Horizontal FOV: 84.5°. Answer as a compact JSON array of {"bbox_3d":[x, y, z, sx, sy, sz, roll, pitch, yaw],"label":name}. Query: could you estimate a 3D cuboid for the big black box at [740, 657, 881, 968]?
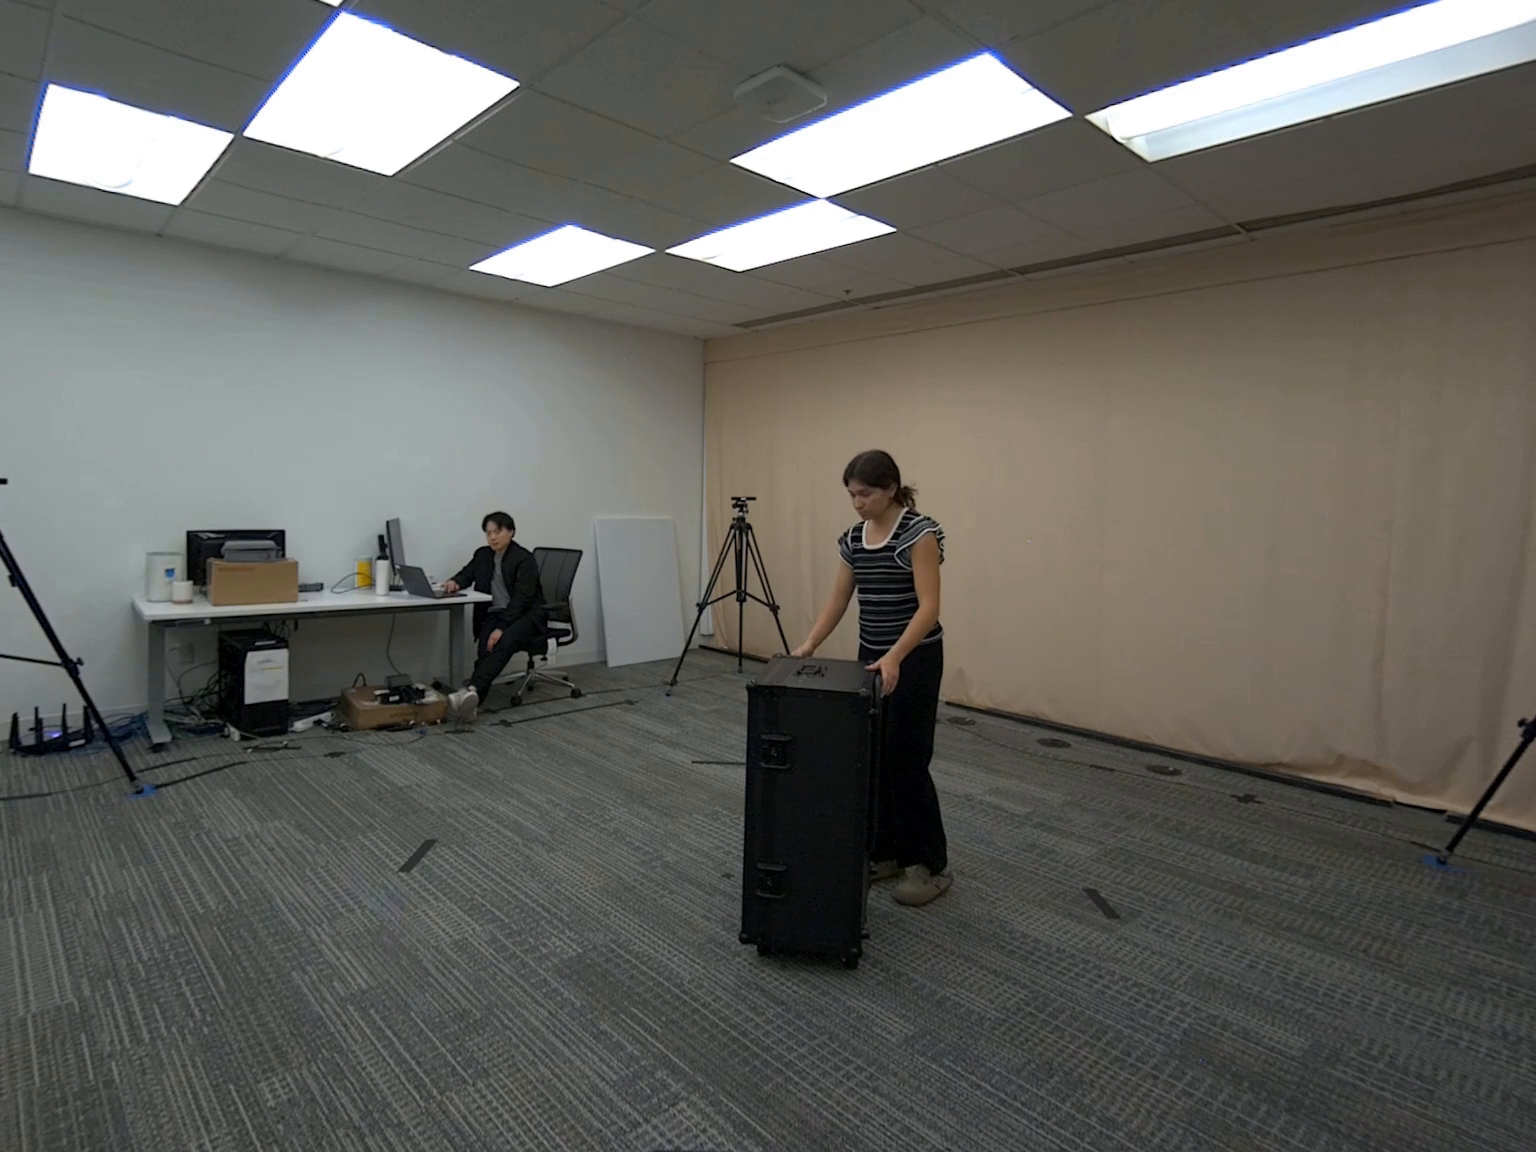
[{"bbox_3d":[0.146,0.729,2.670,0.400,0.859,0.517,3,3,12],"label":"big black box"}]
